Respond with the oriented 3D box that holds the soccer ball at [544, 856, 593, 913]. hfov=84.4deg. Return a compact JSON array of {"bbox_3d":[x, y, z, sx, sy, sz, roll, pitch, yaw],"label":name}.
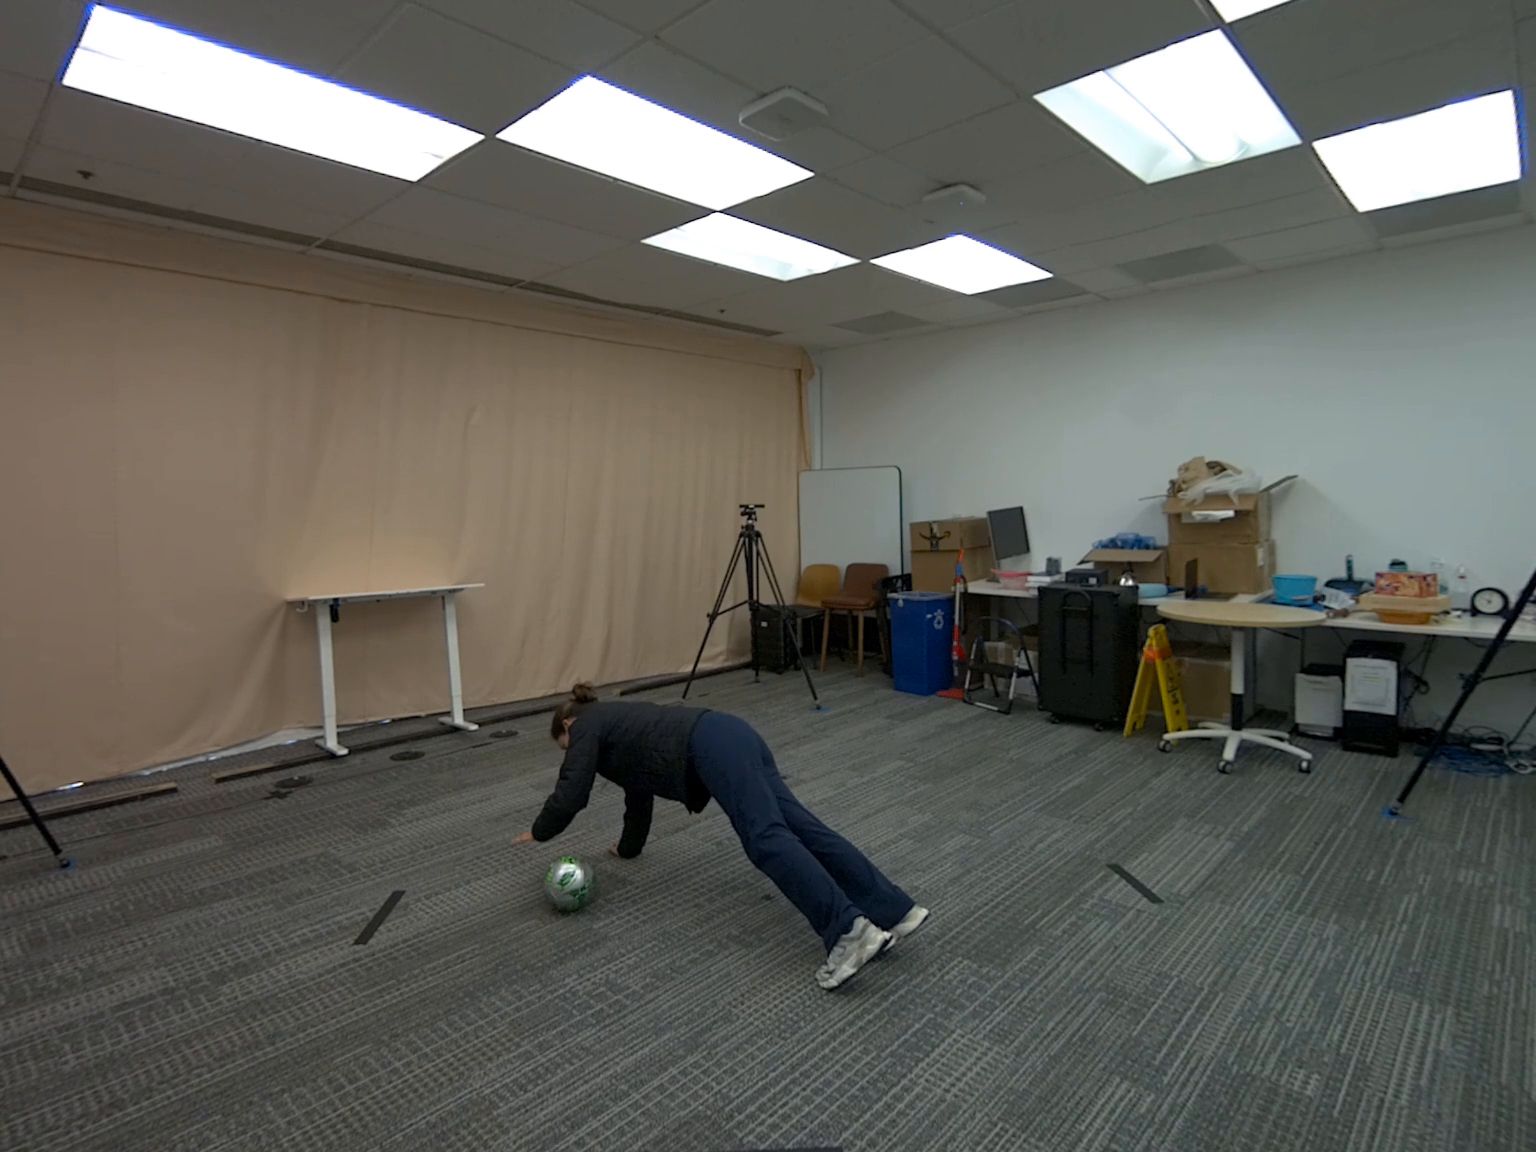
[{"bbox_3d":[-0.688,1.074,2.927,0.187,0.187,0.188,-1,4,-2],"label":"soccer ball"}]
